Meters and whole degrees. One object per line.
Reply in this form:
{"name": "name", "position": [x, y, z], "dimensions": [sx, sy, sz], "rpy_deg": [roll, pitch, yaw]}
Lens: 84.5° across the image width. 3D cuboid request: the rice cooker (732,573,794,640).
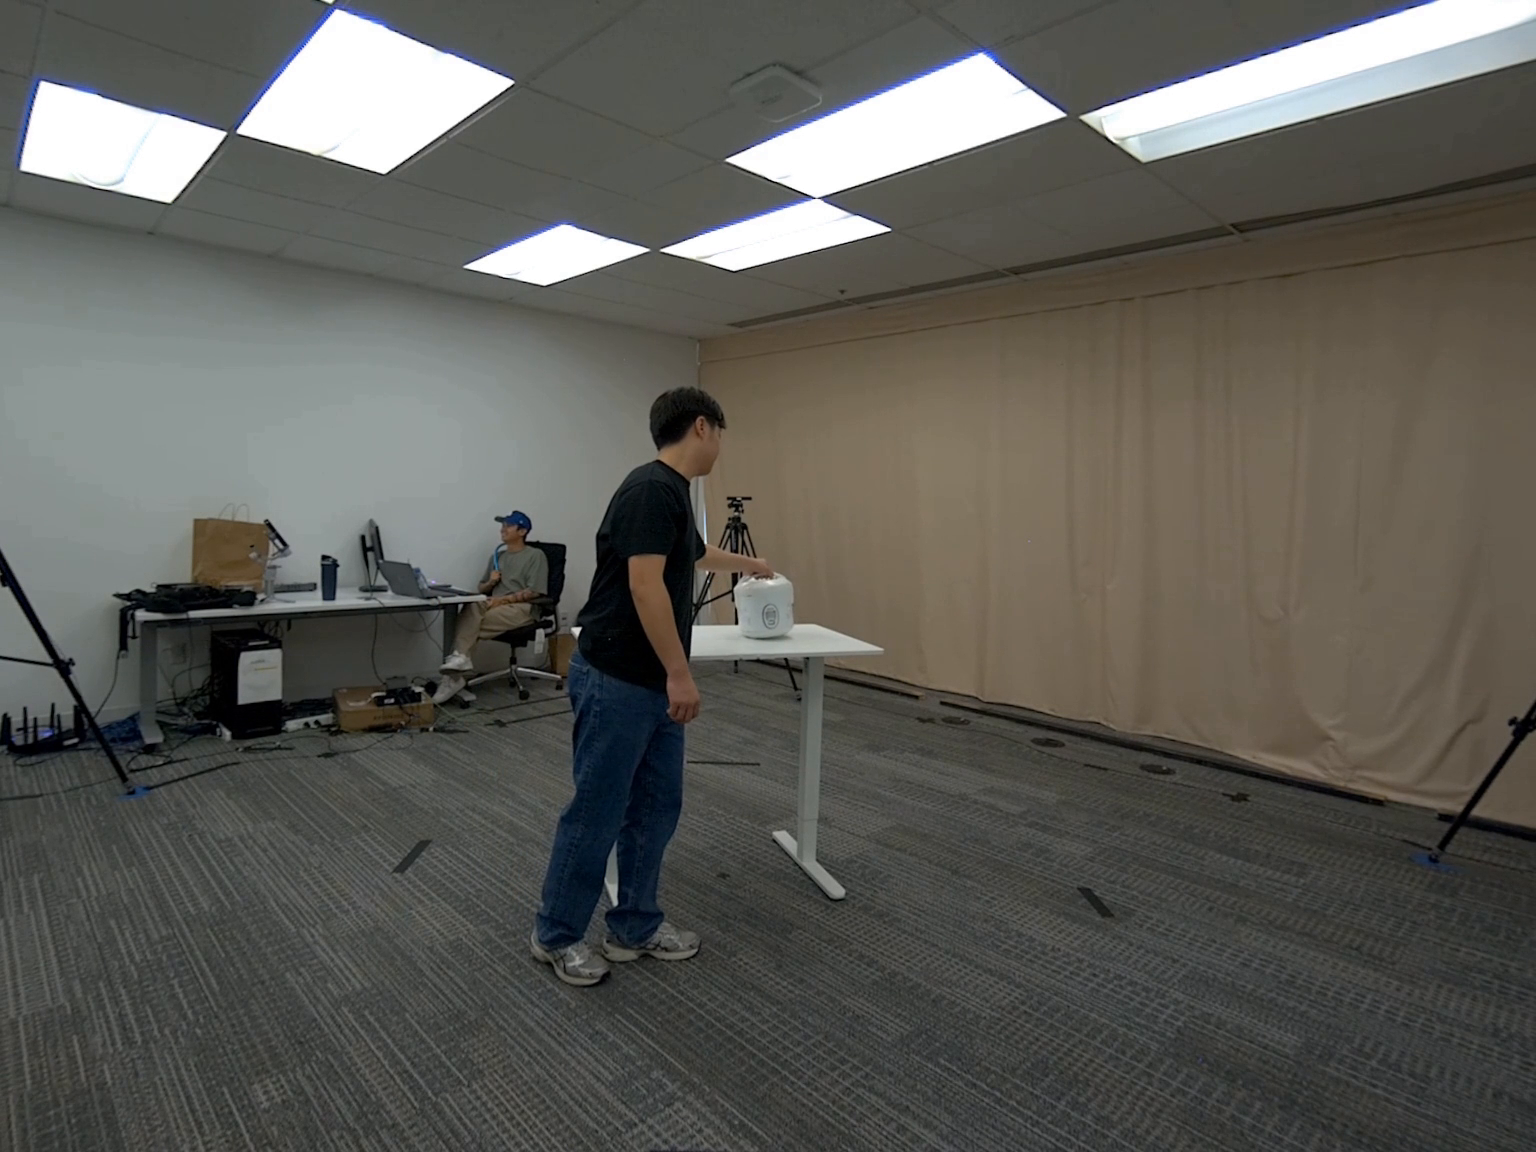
{"name": "rice cooker", "position": [-0.017, 0.105, 3.109], "dimensions": [0.219, 0.232, 0.220], "rpy_deg": [-7, 5, -9]}
